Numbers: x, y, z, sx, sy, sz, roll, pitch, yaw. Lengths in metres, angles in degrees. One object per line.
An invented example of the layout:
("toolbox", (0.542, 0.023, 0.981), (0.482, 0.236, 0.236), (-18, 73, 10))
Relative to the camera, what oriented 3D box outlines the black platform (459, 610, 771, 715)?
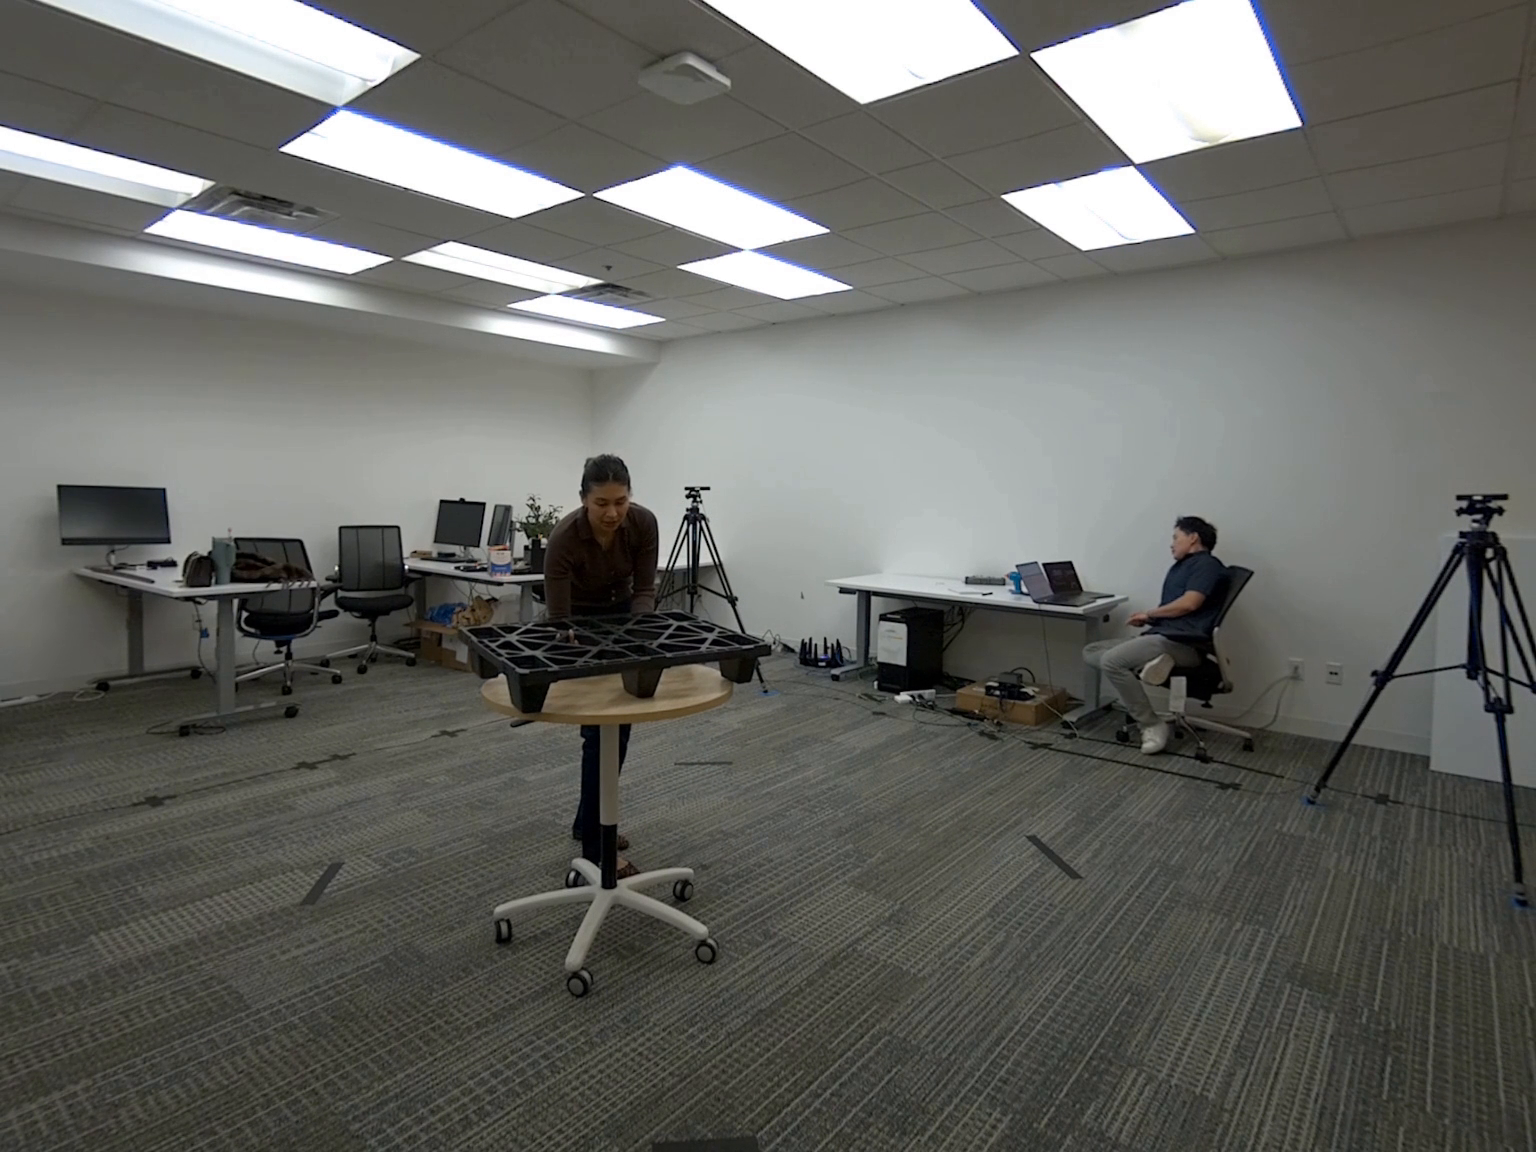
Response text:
("black platform", (-0.482, 0.249, 2.615), (0.783, 0.142, 0.626), (-4, 10, -34))
